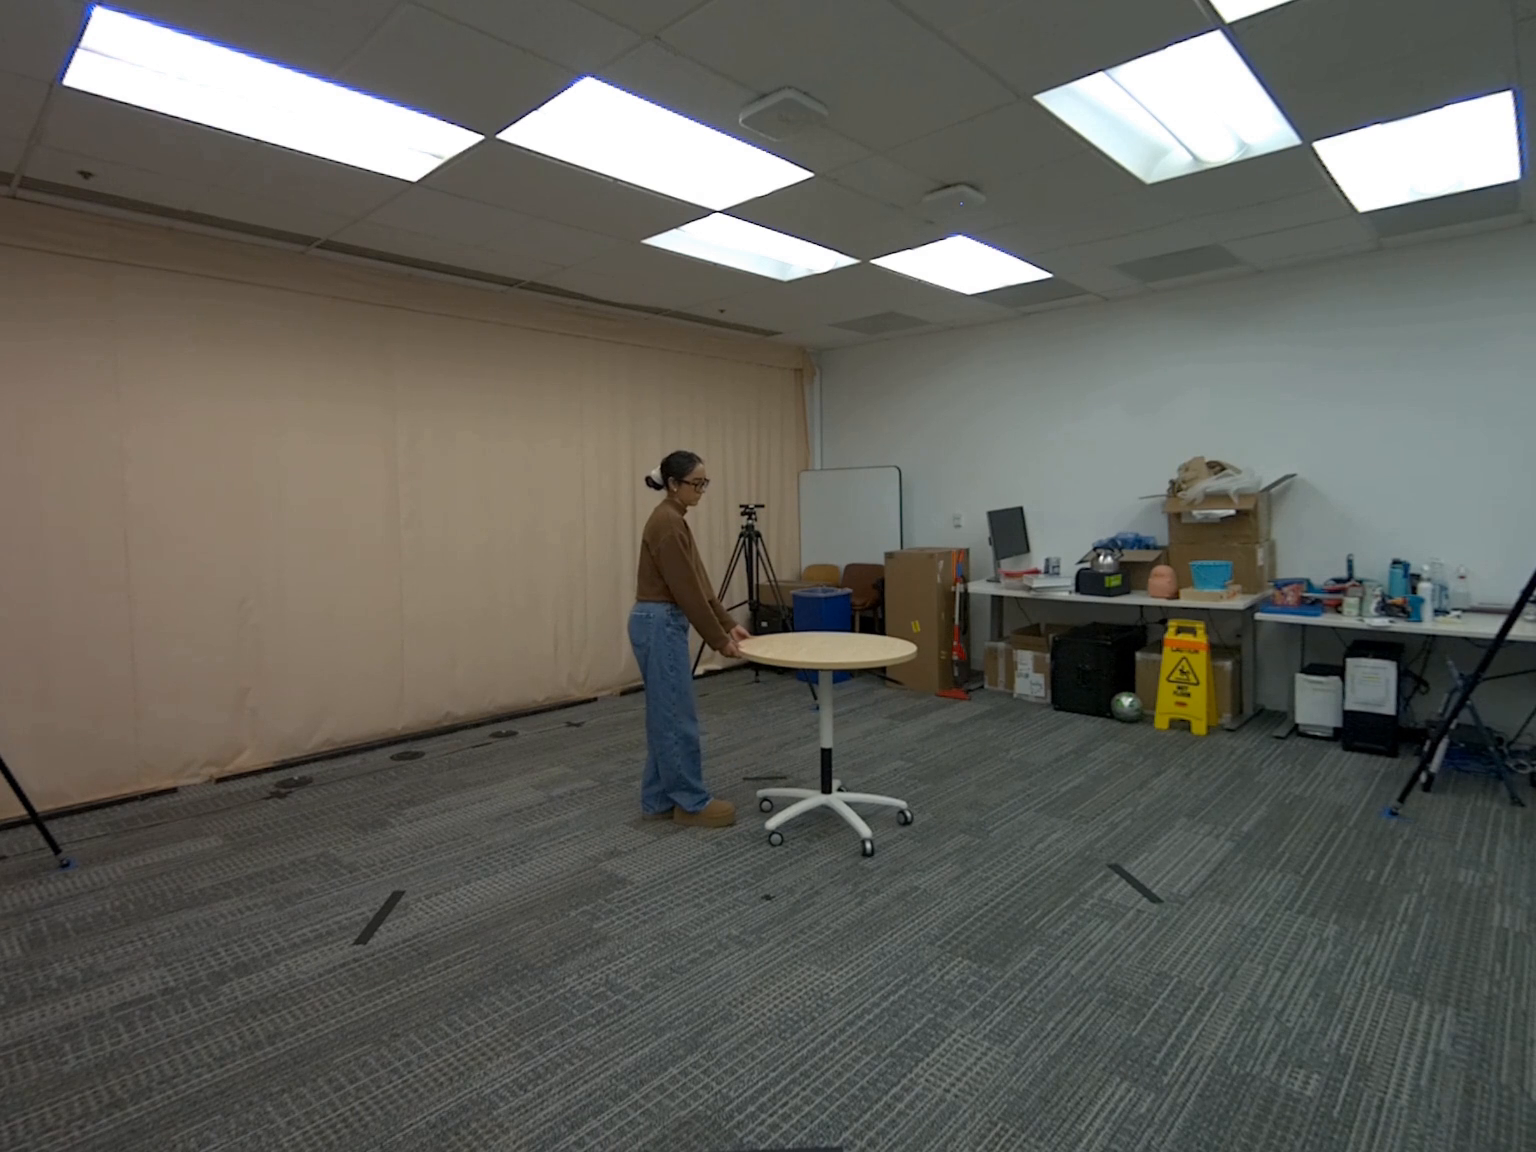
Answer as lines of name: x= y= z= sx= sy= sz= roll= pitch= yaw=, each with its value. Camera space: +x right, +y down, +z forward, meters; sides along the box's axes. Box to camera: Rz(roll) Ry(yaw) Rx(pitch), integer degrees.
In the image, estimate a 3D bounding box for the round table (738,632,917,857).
round table: x=0.251 y=0.692 z=3.629 sx=0.763 sy=0.792 sz=0.766 roll=-1 pitch=4 yaw=-2
